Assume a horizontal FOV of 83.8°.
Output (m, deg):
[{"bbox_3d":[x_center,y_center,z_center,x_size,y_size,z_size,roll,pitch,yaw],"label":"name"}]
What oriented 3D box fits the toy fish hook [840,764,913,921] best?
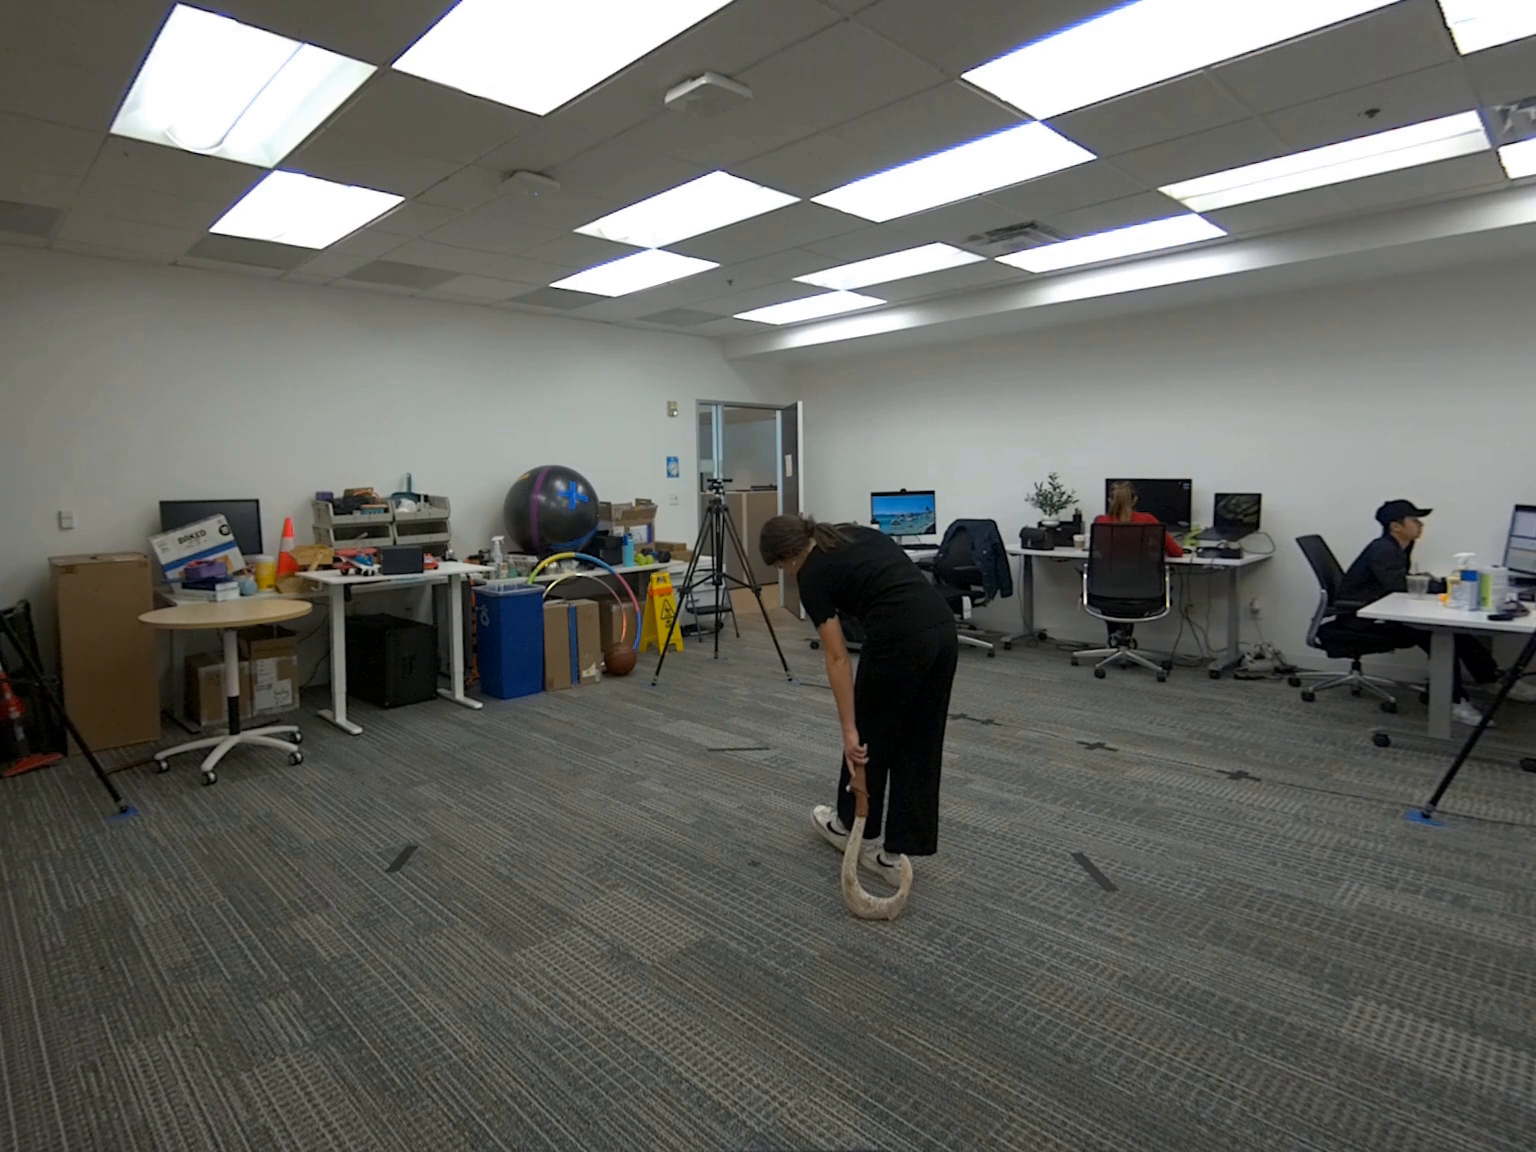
[{"bbox_3d":[0.355,0.850,2.785,0.226,0.515,0.047,-2,-21,7],"label":"toy fish hook"}]
